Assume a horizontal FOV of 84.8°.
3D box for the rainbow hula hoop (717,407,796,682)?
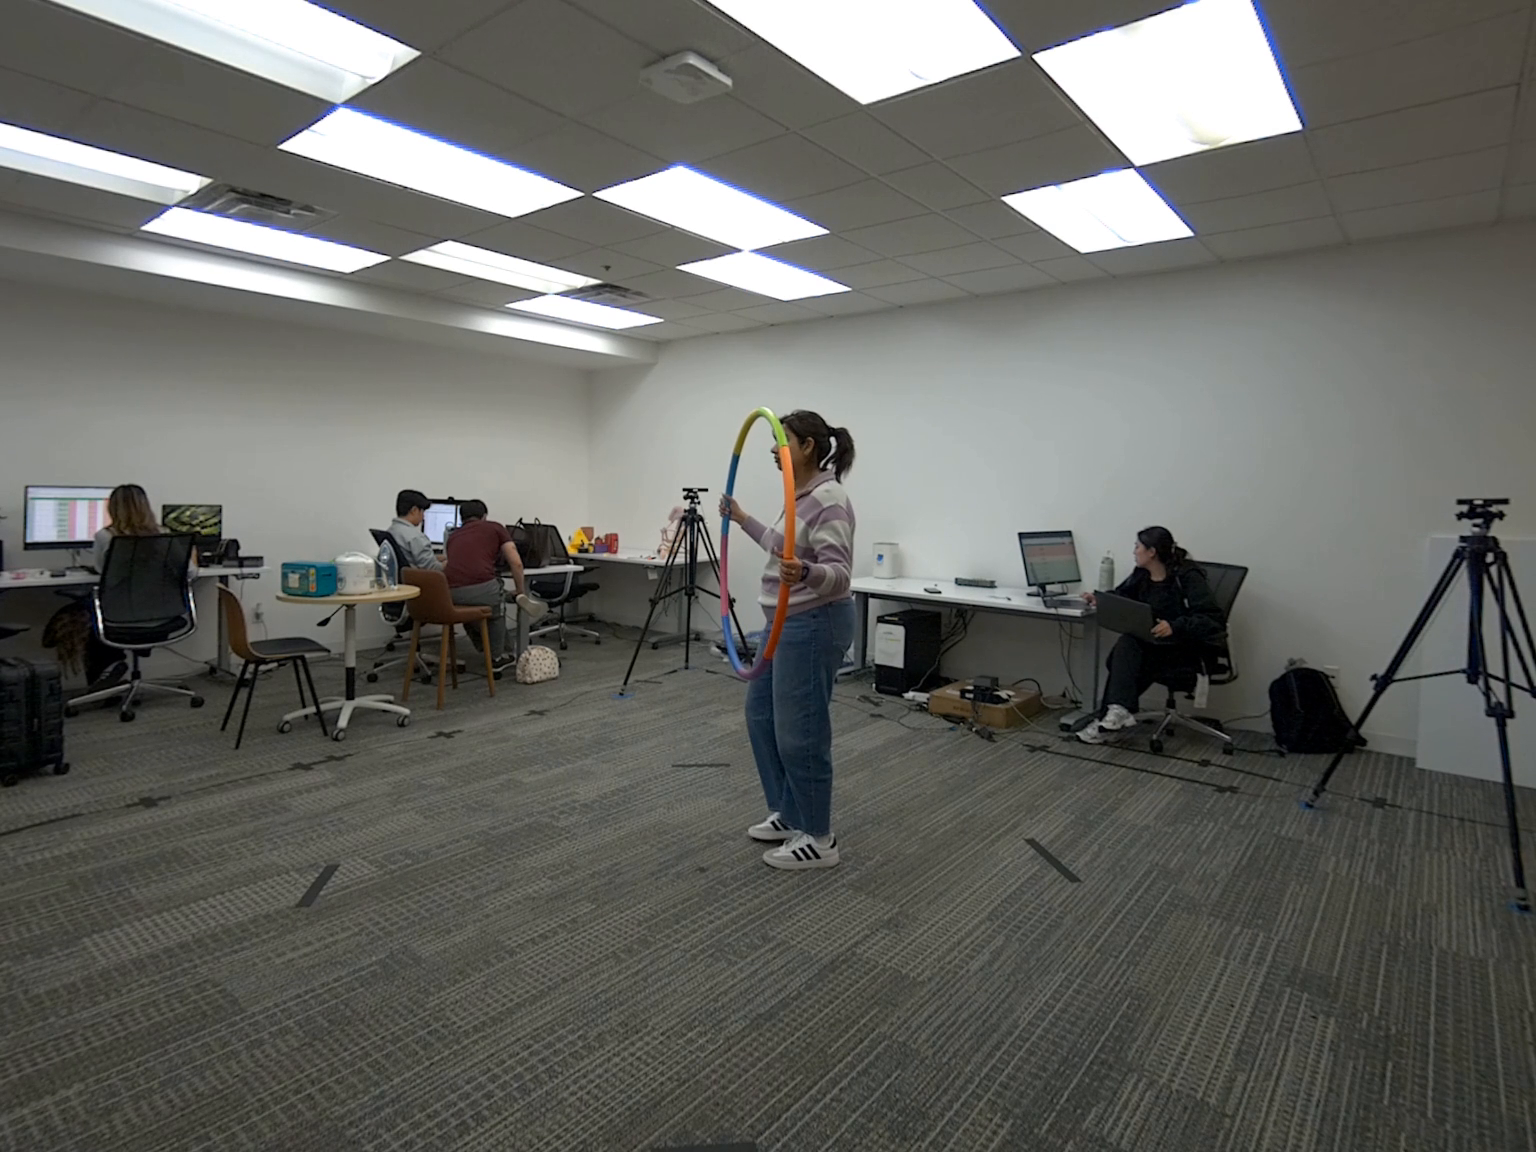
[{"bbox_3d":[-0.075,-0.122,3.116,0.035,0.977,0.997,4,3,-16],"label":"rainbow hula hoop"}]
